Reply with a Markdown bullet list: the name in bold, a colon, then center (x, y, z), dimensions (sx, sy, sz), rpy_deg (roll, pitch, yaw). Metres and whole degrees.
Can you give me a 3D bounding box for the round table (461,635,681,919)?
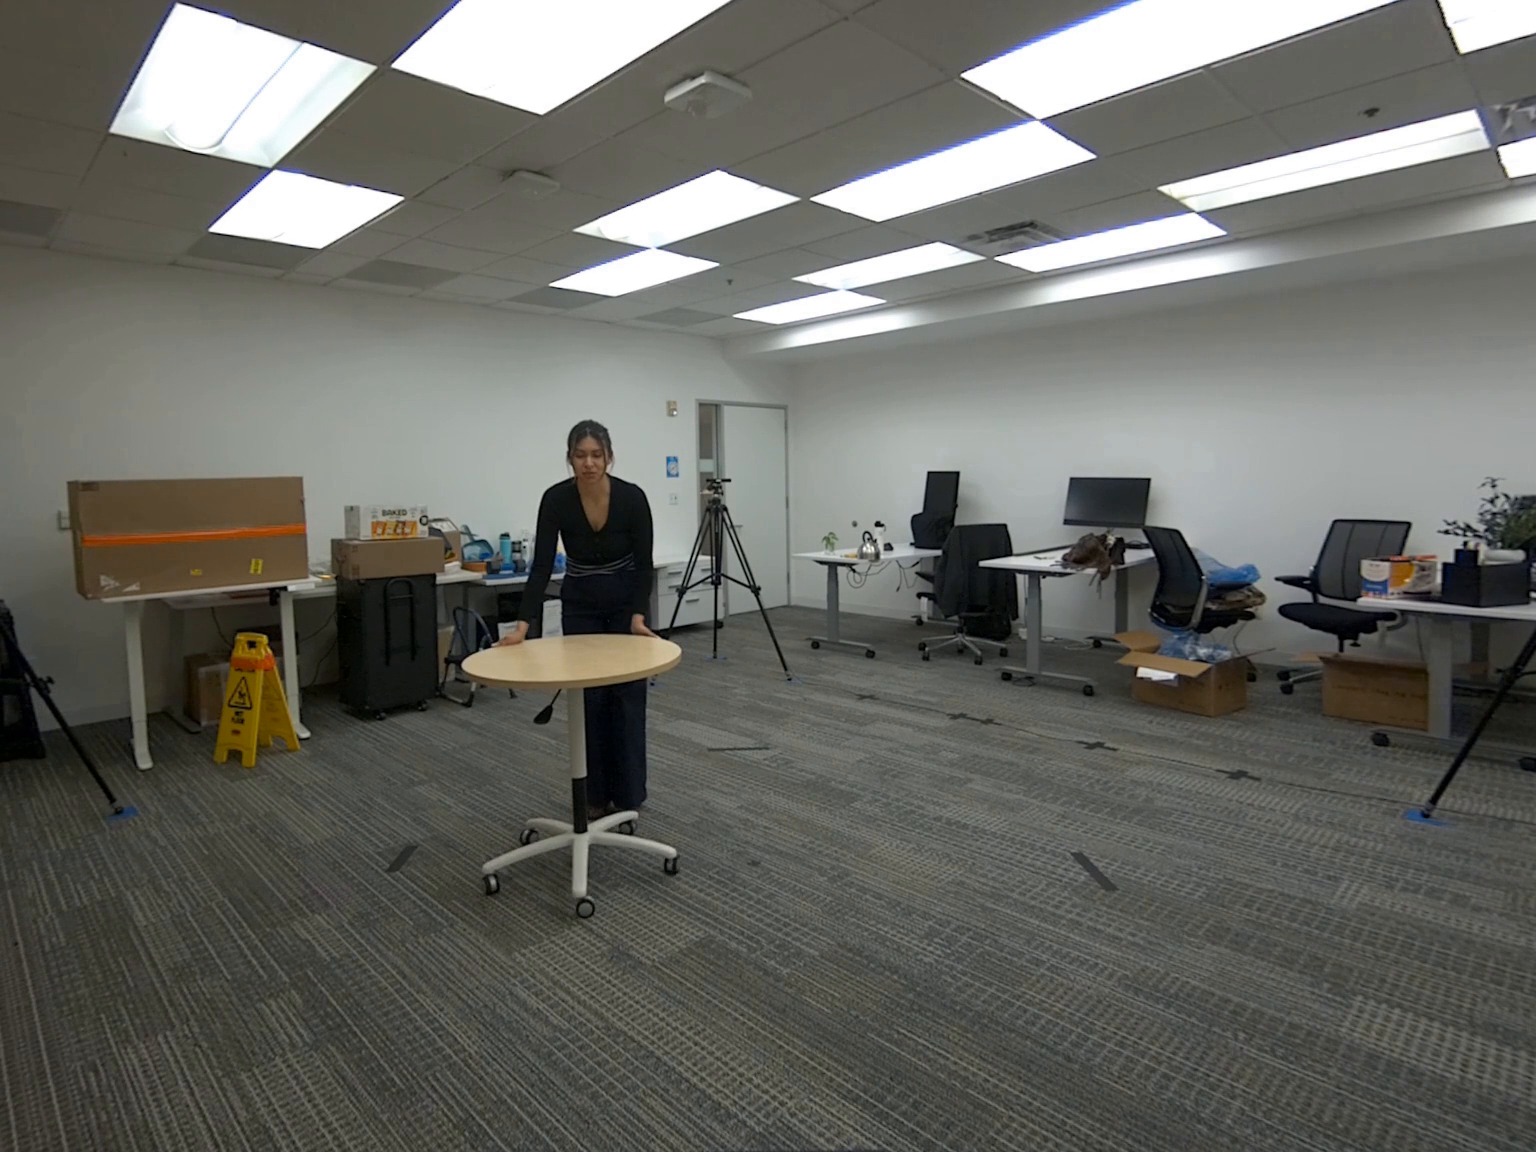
- **round table**: center (-0.673, 0.674, 3.062), dimensions (0.763, 0.791, 0.768), rpy_deg (-2, 5, -1)
